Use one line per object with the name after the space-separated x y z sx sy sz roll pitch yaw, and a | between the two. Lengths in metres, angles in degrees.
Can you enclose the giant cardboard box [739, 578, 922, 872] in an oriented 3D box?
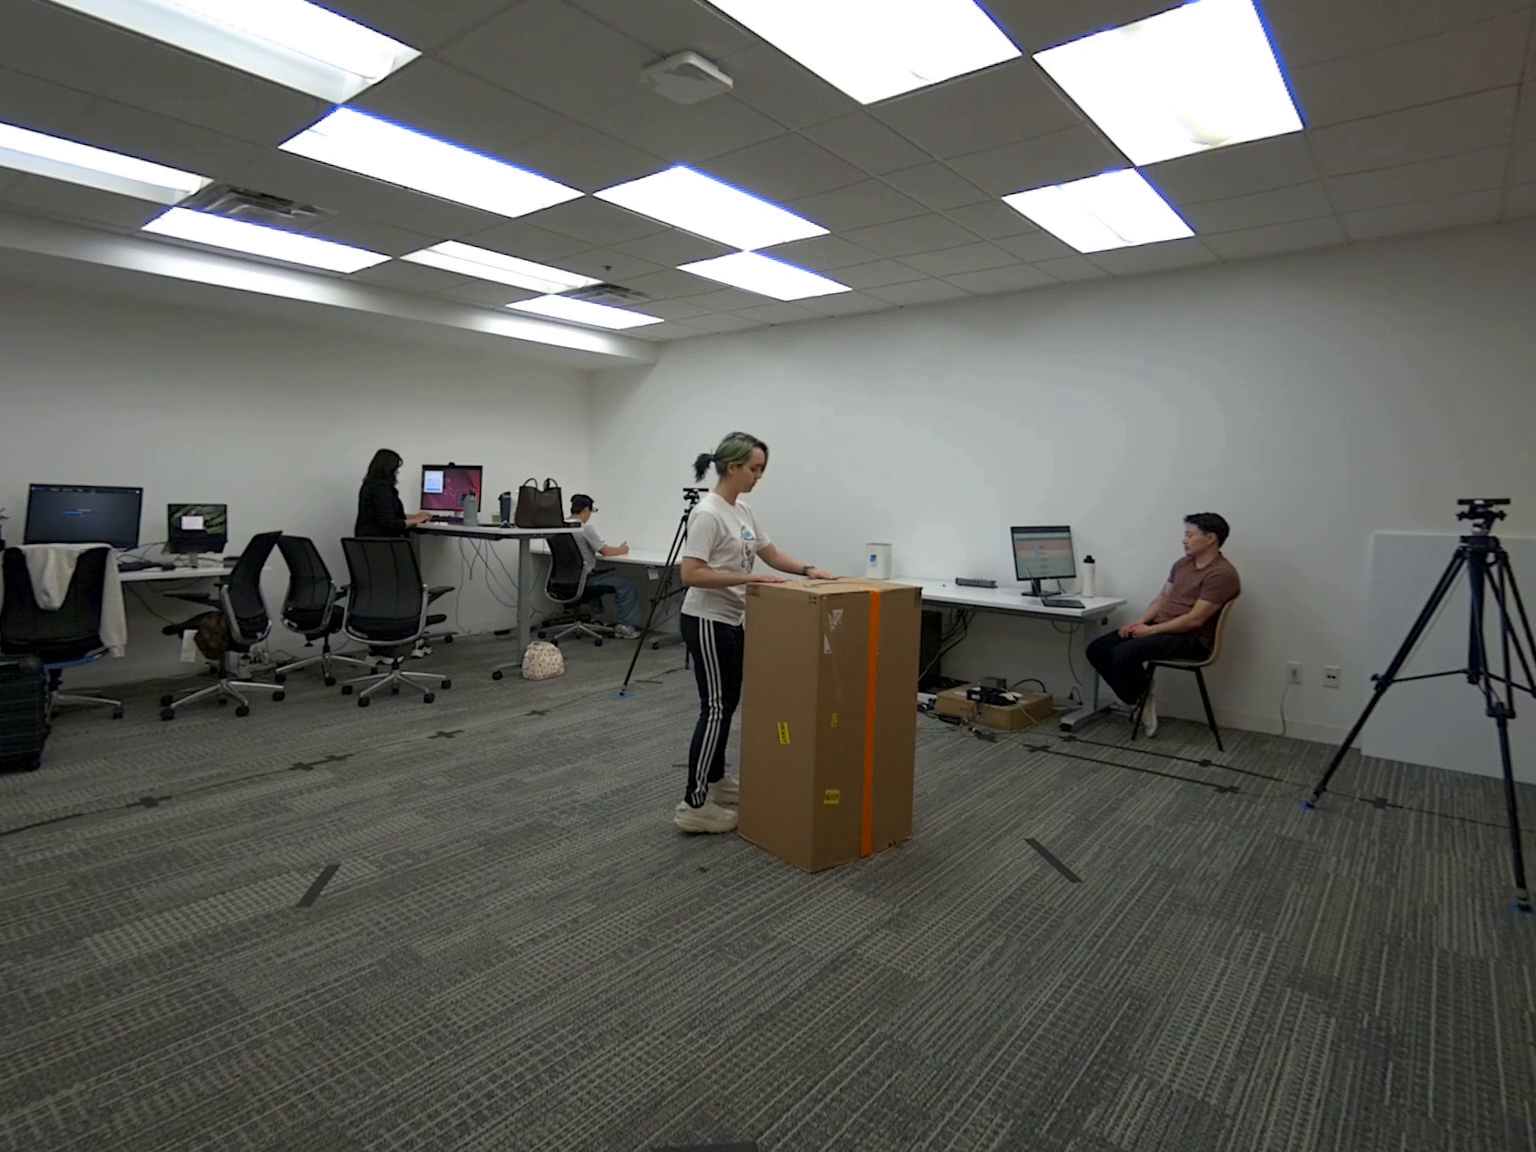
0.242 0.544 3.399 0.566 1.025 0.462 -1 3 -41 | giant cardboard box
